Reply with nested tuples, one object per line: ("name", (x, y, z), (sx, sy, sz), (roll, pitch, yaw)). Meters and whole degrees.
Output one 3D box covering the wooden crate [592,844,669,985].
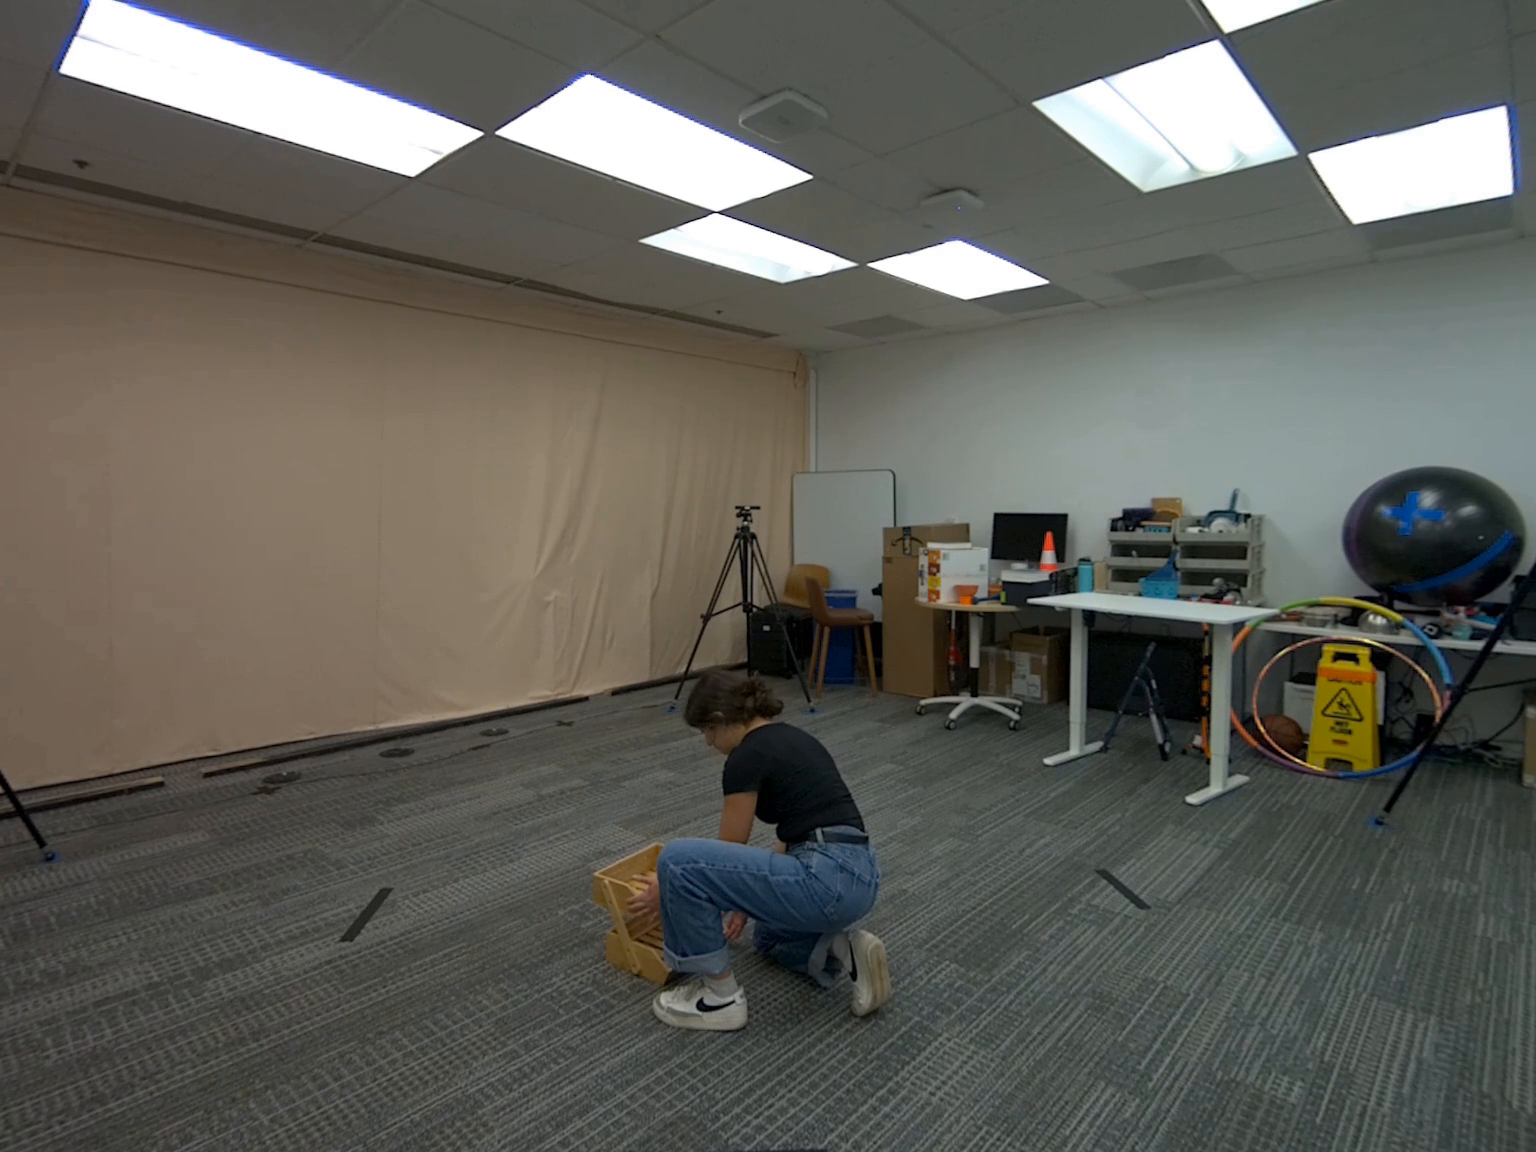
("wooden crate", (-0.332, 1.042, 2.627), (0.311, 0.272, 0.315), (2, 5, 36))
